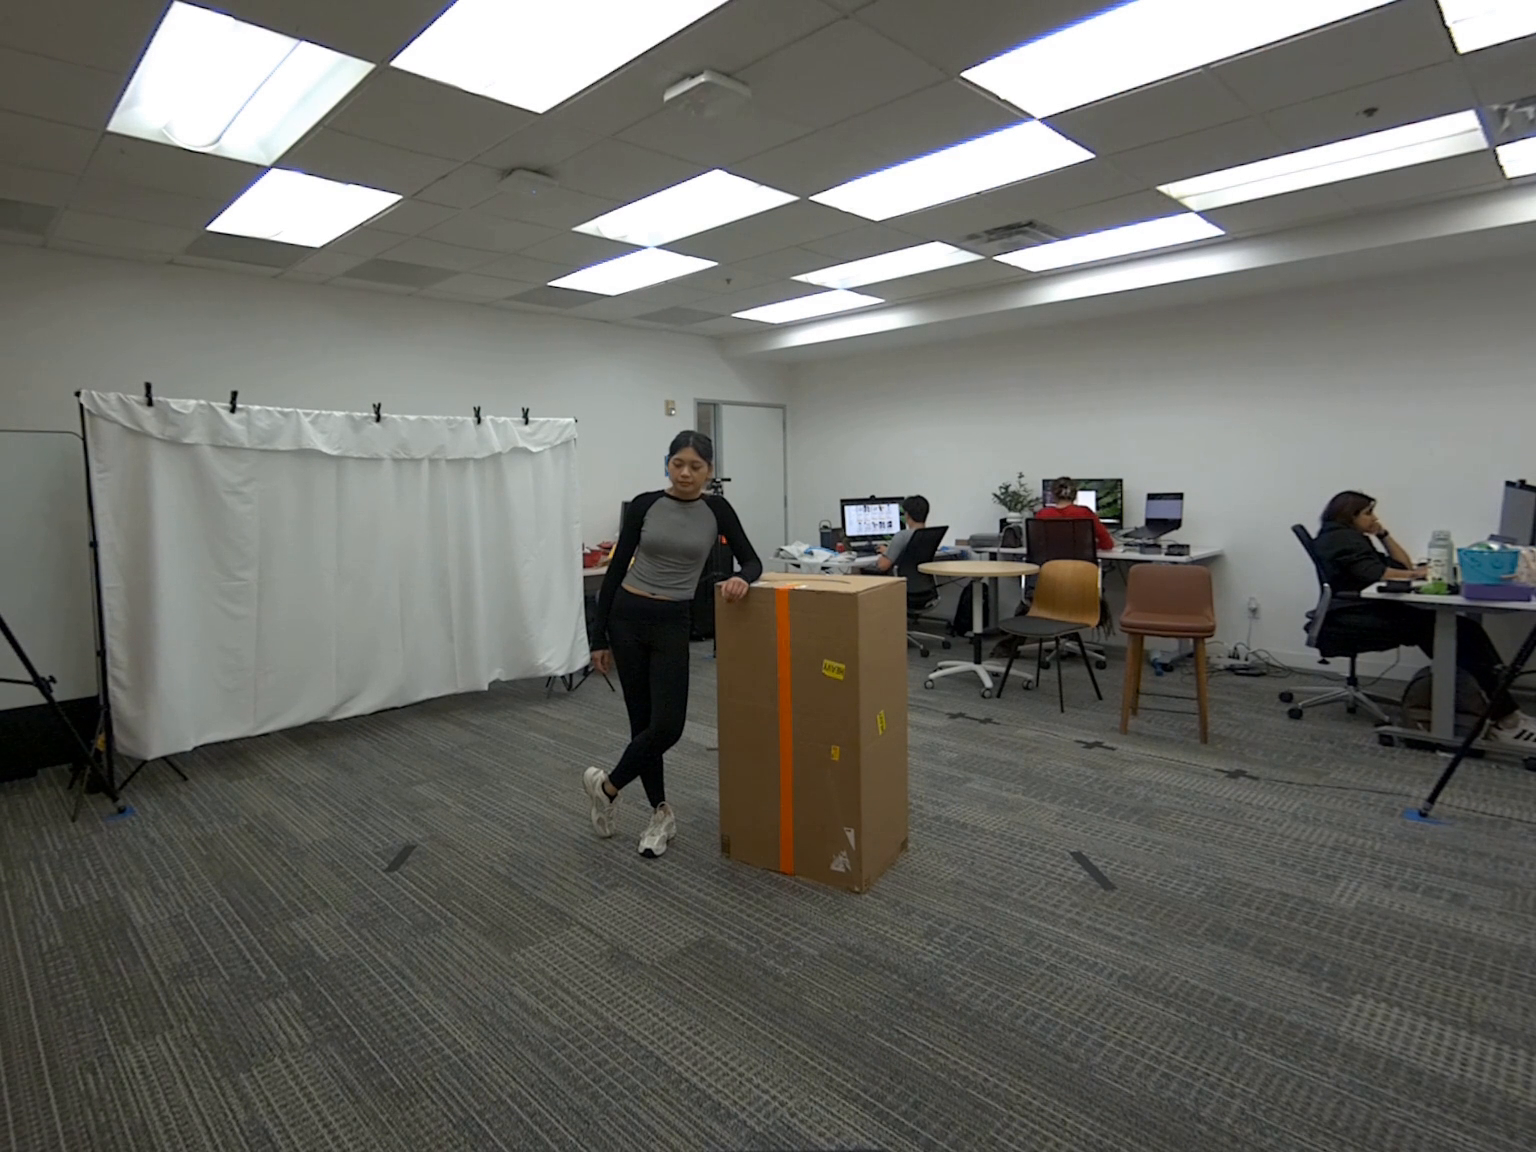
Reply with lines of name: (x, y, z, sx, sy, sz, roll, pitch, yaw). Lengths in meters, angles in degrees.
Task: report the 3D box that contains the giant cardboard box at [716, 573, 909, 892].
giant cardboard box: (0.168, 0.525, 3.151, 0.593, 1.022, 0.416, 1, 4, 33)
